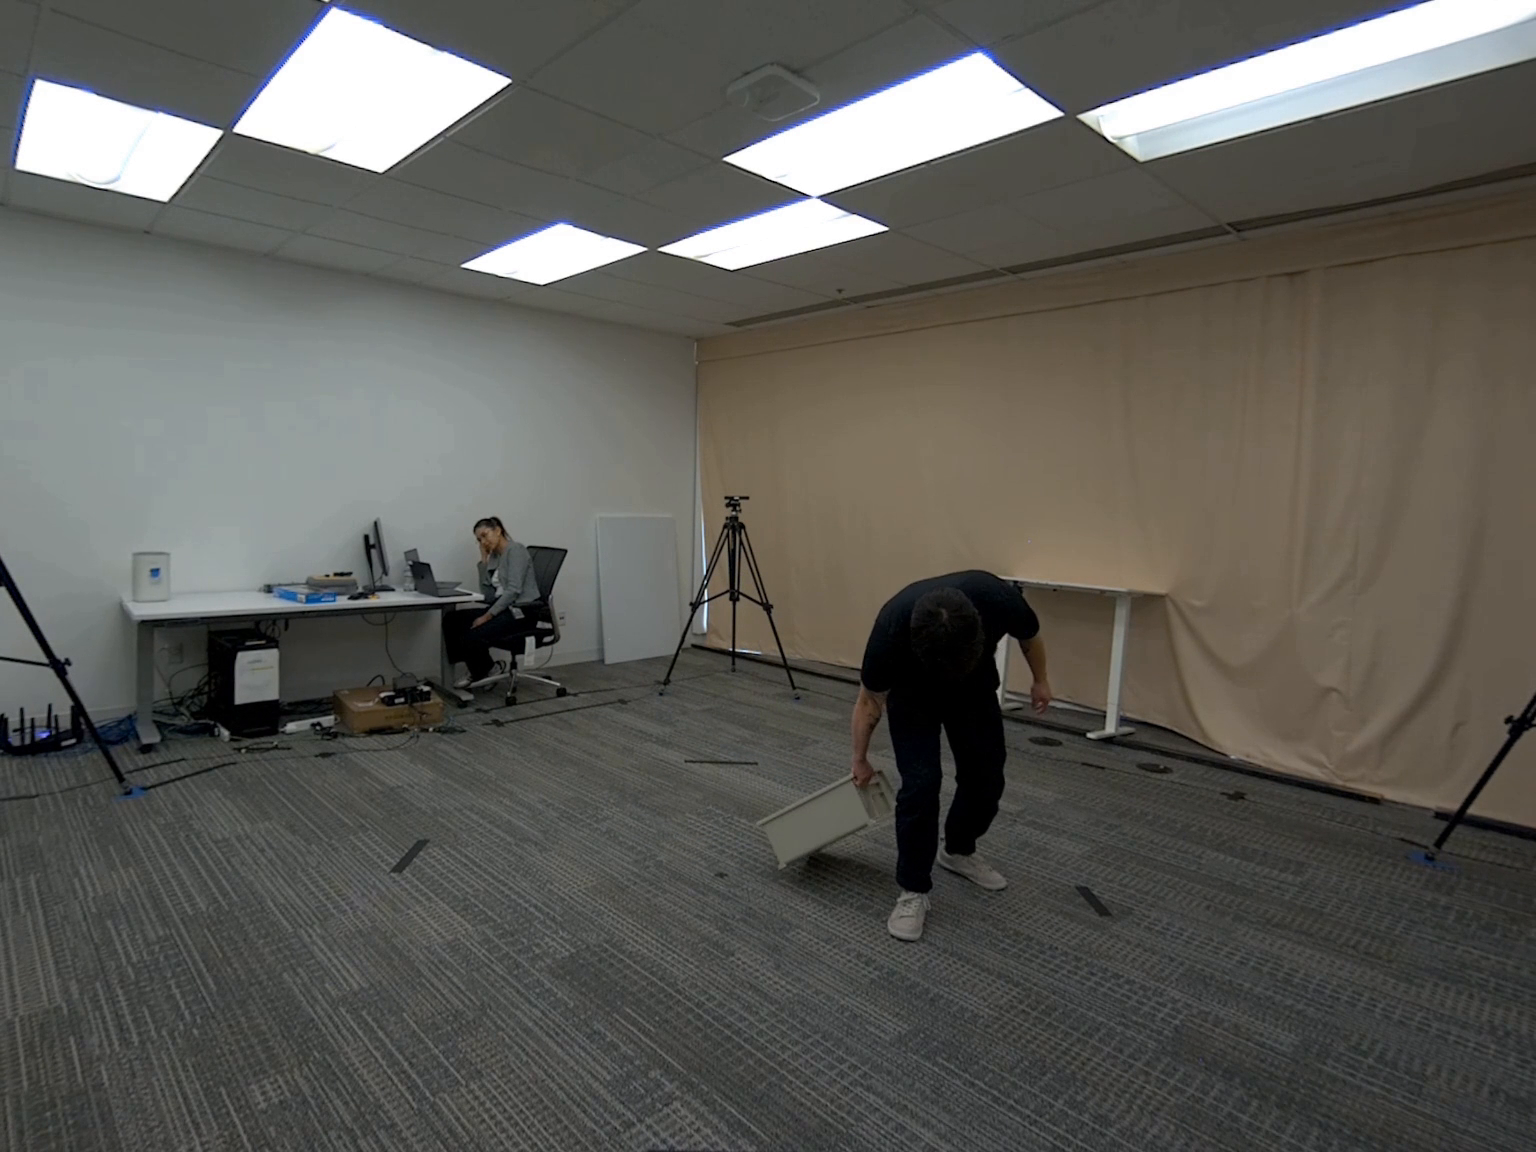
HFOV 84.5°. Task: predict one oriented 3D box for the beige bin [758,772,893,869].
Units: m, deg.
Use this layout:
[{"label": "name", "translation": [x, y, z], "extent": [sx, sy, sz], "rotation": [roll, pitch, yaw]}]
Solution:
[{"label": "beige bin", "translation": [0.232, 0.896, 3.134], "extent": [0.424, 0.192, 0.369], "rotation": [-31, -17, 17]}]
